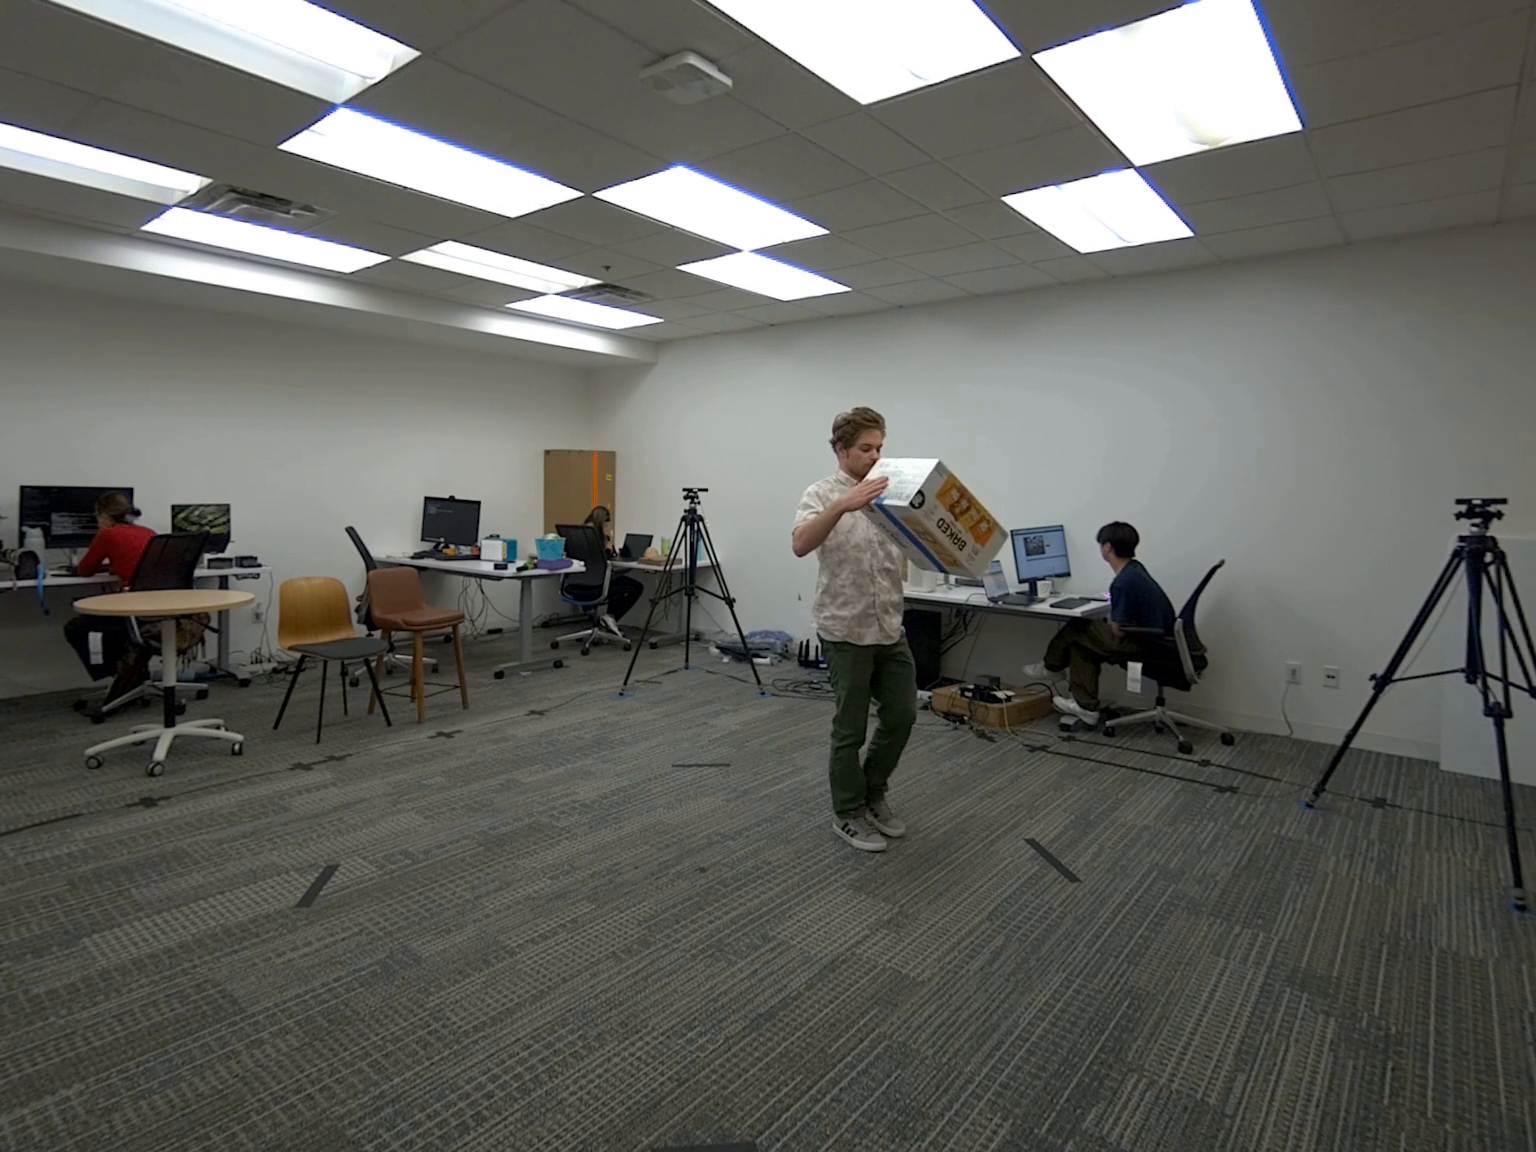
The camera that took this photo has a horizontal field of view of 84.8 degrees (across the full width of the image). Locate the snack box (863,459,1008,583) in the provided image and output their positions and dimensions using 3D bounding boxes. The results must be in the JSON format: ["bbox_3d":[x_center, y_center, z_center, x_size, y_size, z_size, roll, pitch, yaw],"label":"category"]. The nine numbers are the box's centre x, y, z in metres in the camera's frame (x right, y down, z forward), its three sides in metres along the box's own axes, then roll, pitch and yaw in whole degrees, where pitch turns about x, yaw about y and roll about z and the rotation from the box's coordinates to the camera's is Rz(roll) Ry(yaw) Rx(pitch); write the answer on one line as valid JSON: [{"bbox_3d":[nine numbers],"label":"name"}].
[{"bbox_3d":[0.558,-0.204,2.983,0.393,0.206,0.350,42,-12,-24],"label":"snack box"}]
